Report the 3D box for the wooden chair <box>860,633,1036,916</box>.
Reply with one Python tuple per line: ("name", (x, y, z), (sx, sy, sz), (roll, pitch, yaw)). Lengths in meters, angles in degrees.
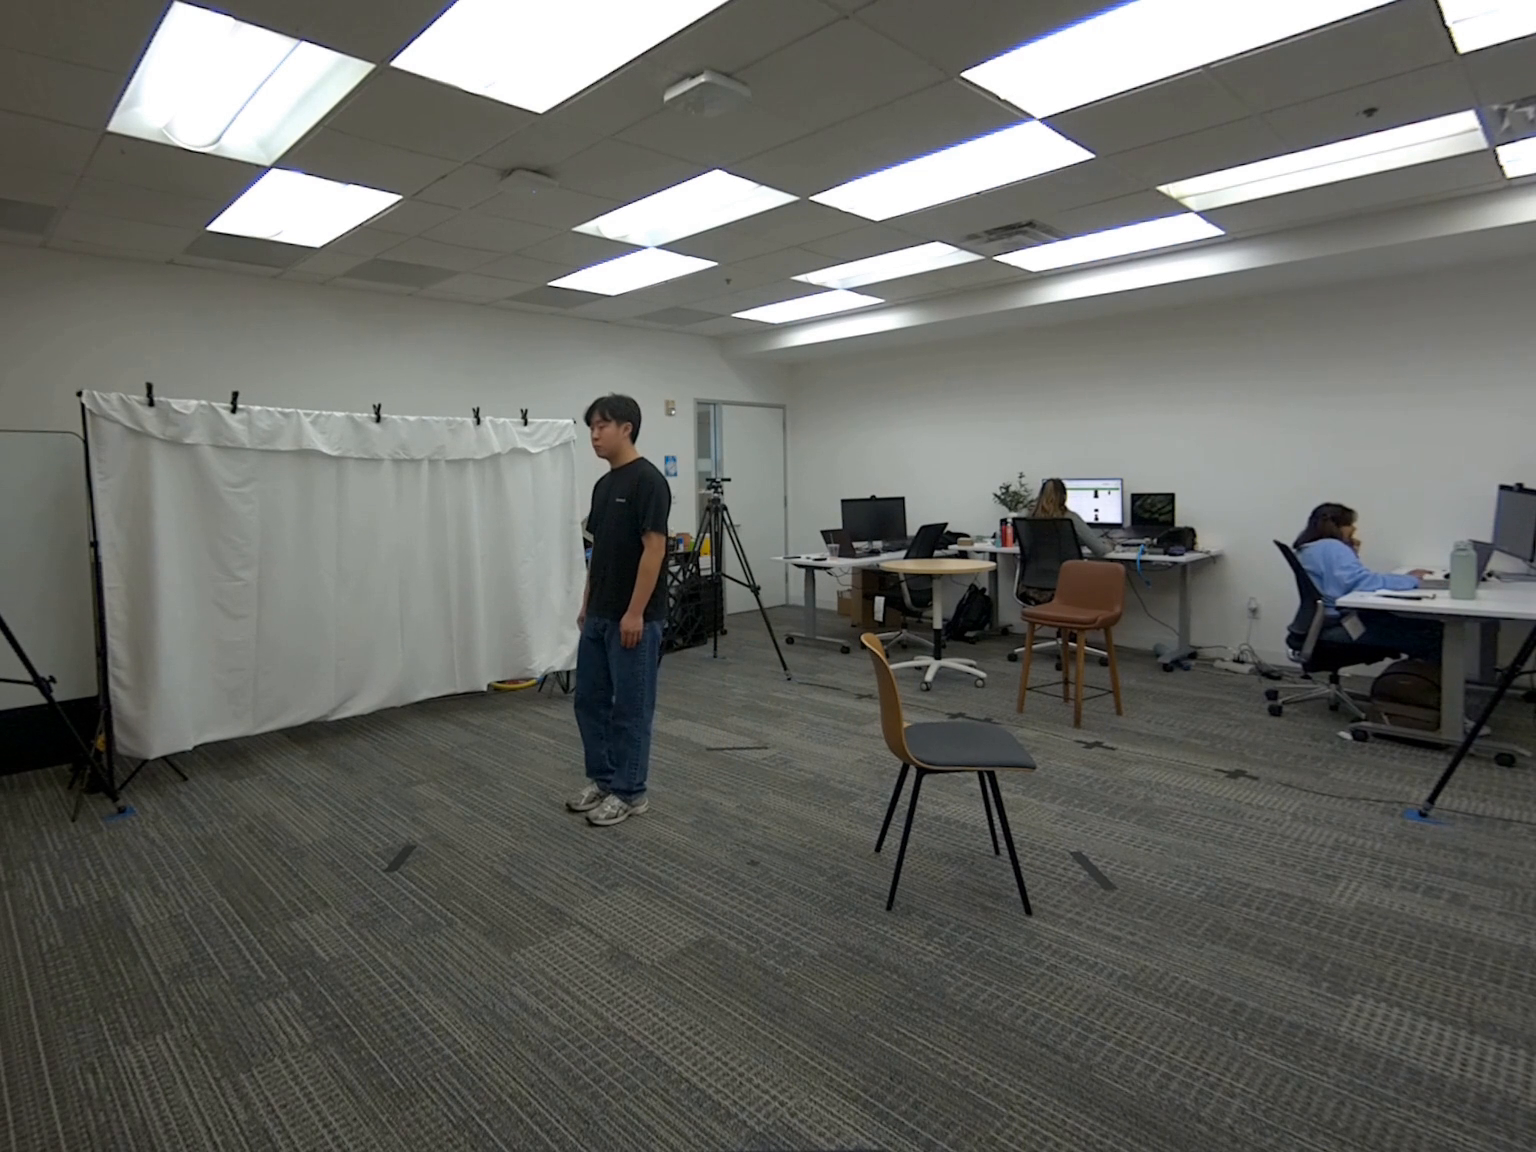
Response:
("wooden chair", (0.622, 0.624, 2.917), (0.525, 0.875, 0.478), (-5, 3, 4))
